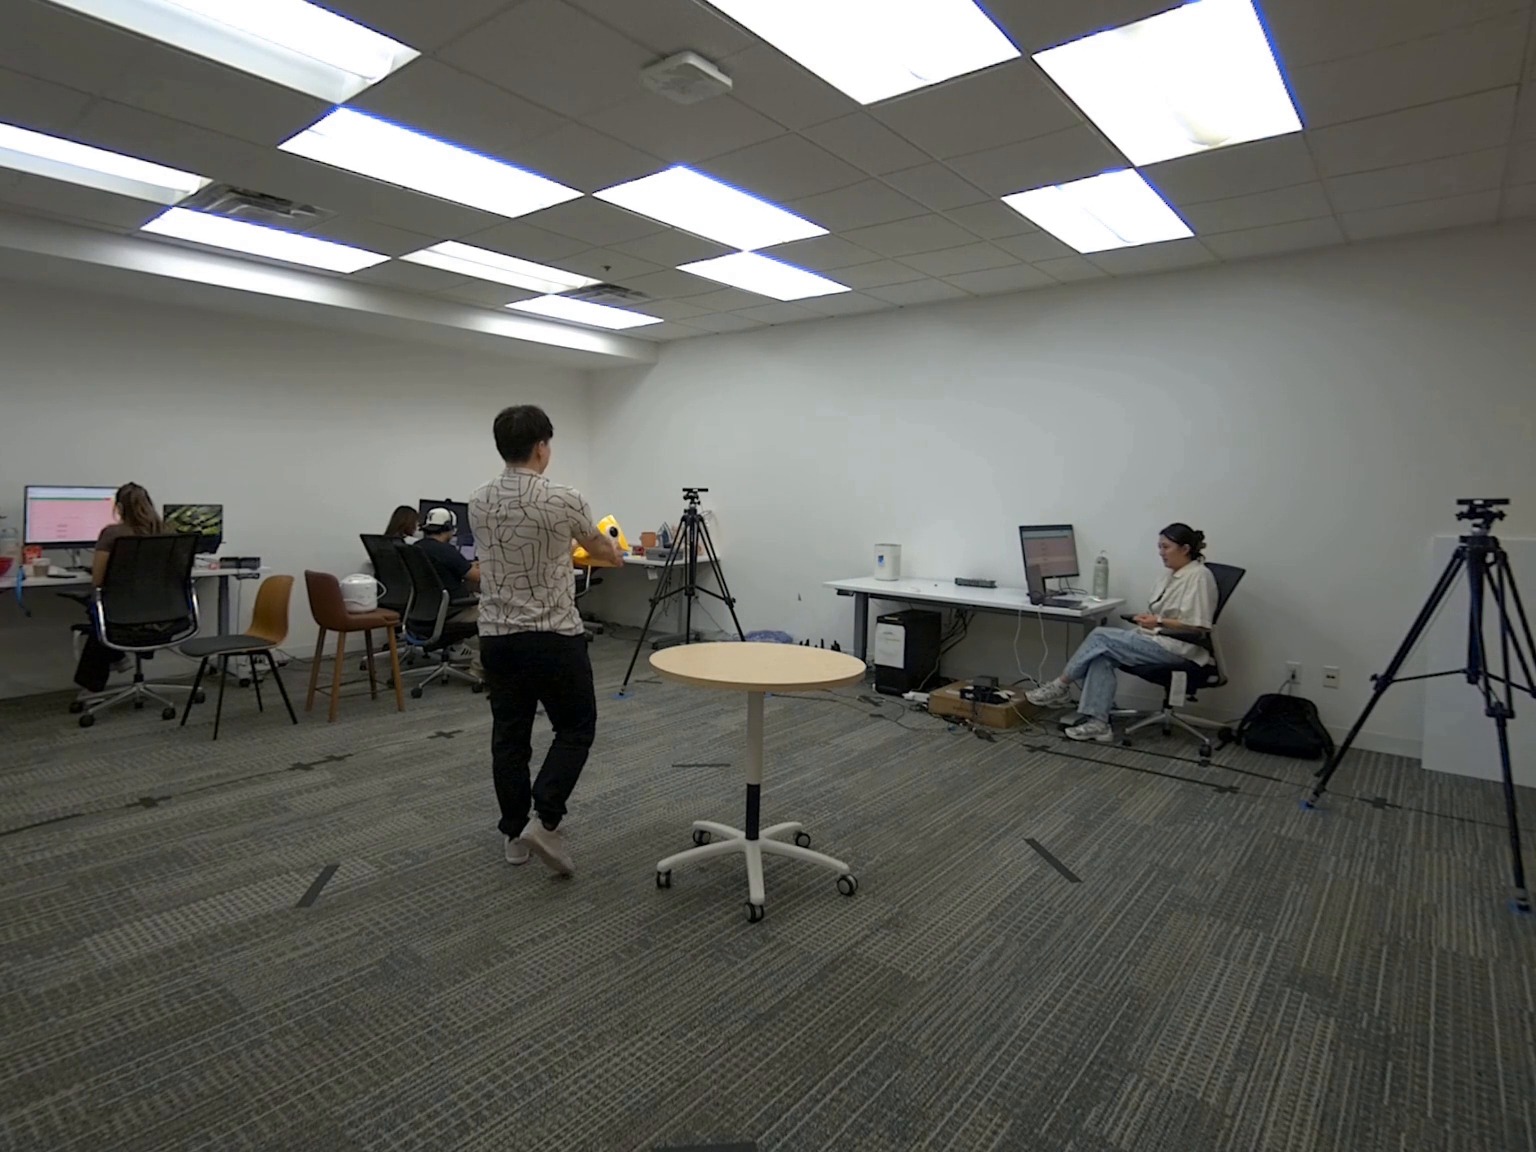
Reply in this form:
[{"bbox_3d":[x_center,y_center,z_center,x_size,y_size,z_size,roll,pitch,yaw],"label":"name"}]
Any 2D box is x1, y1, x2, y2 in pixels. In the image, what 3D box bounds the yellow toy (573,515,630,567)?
[{"bbox_3d":[-0.722,-0.169,3.630,0.209,0.233,0.187,2,-16,19],"label":"yellow toy"}]
